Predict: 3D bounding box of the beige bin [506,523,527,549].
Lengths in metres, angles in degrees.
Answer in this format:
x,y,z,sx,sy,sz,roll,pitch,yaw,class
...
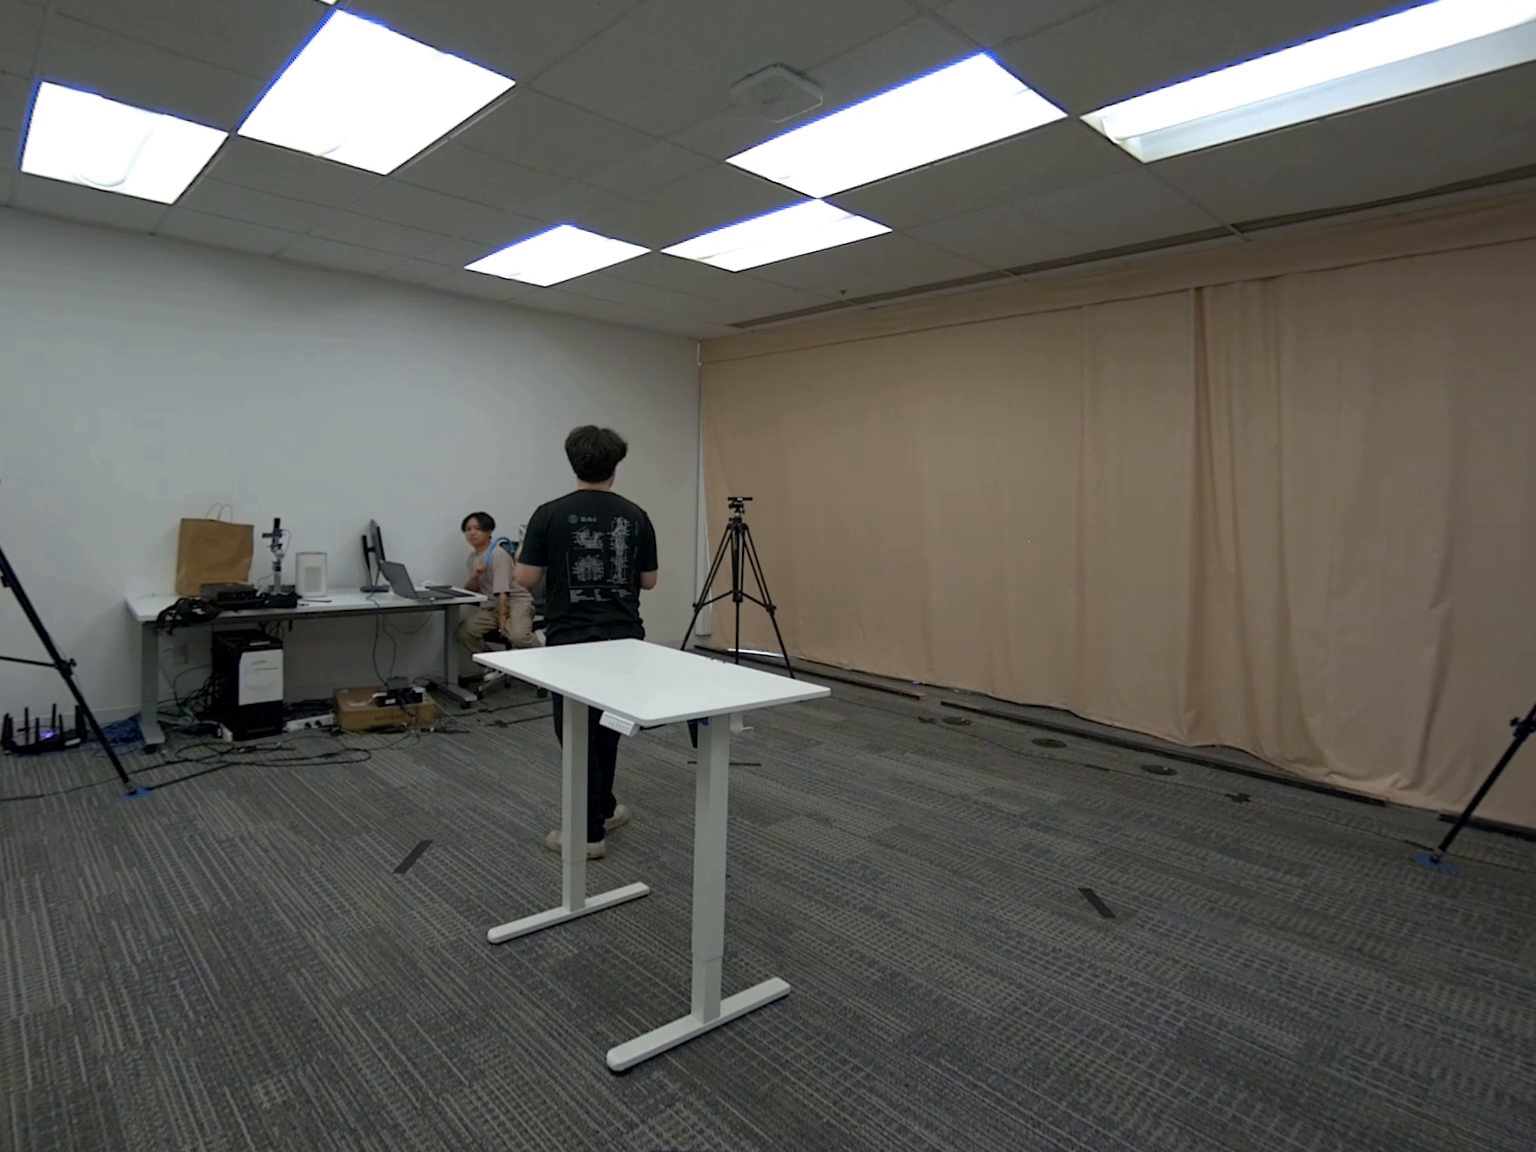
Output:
x,y,z,sx,sy,sz,roll,pitch,yaw,class
-0.853,-0.109,3.668,0.415,0.188,0.386,0,9,-24,beige bin
